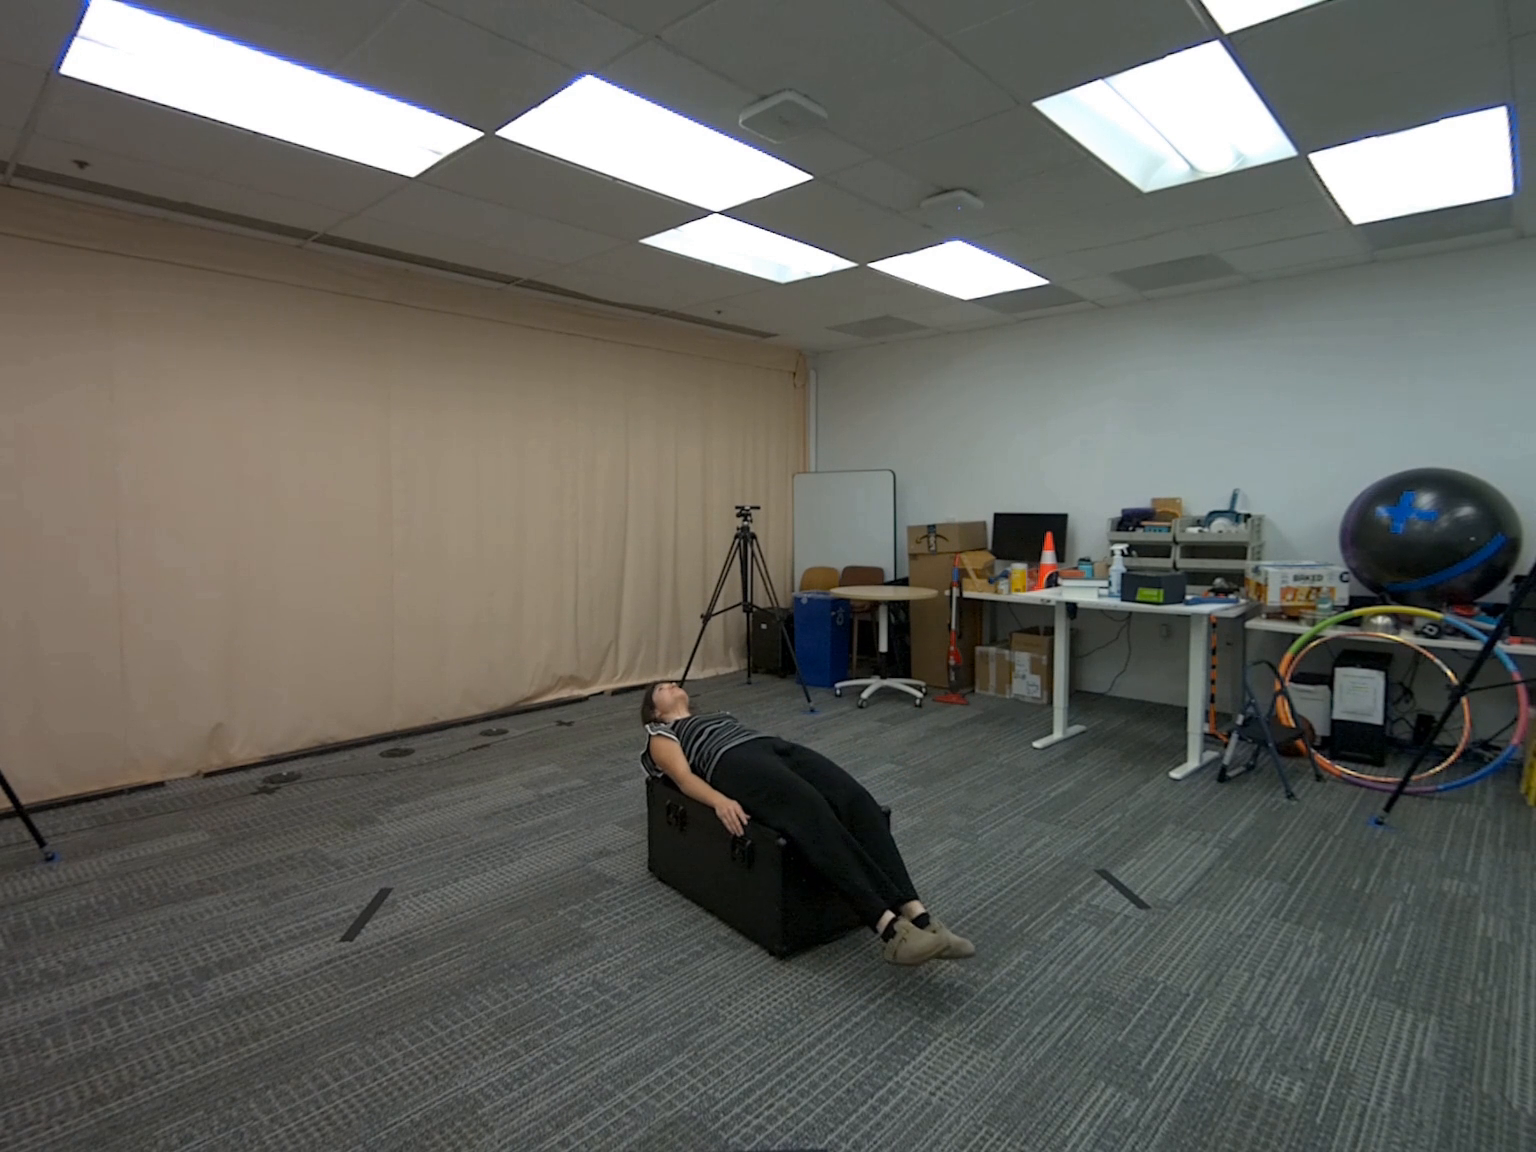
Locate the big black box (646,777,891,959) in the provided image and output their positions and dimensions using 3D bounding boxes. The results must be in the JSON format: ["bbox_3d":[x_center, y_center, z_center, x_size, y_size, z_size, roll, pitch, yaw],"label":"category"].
[{"bbox_3d":[-0.043,0.959,3.026,0.506,0.395,0.890,-5,7,-38],"label":"big black box"}]
